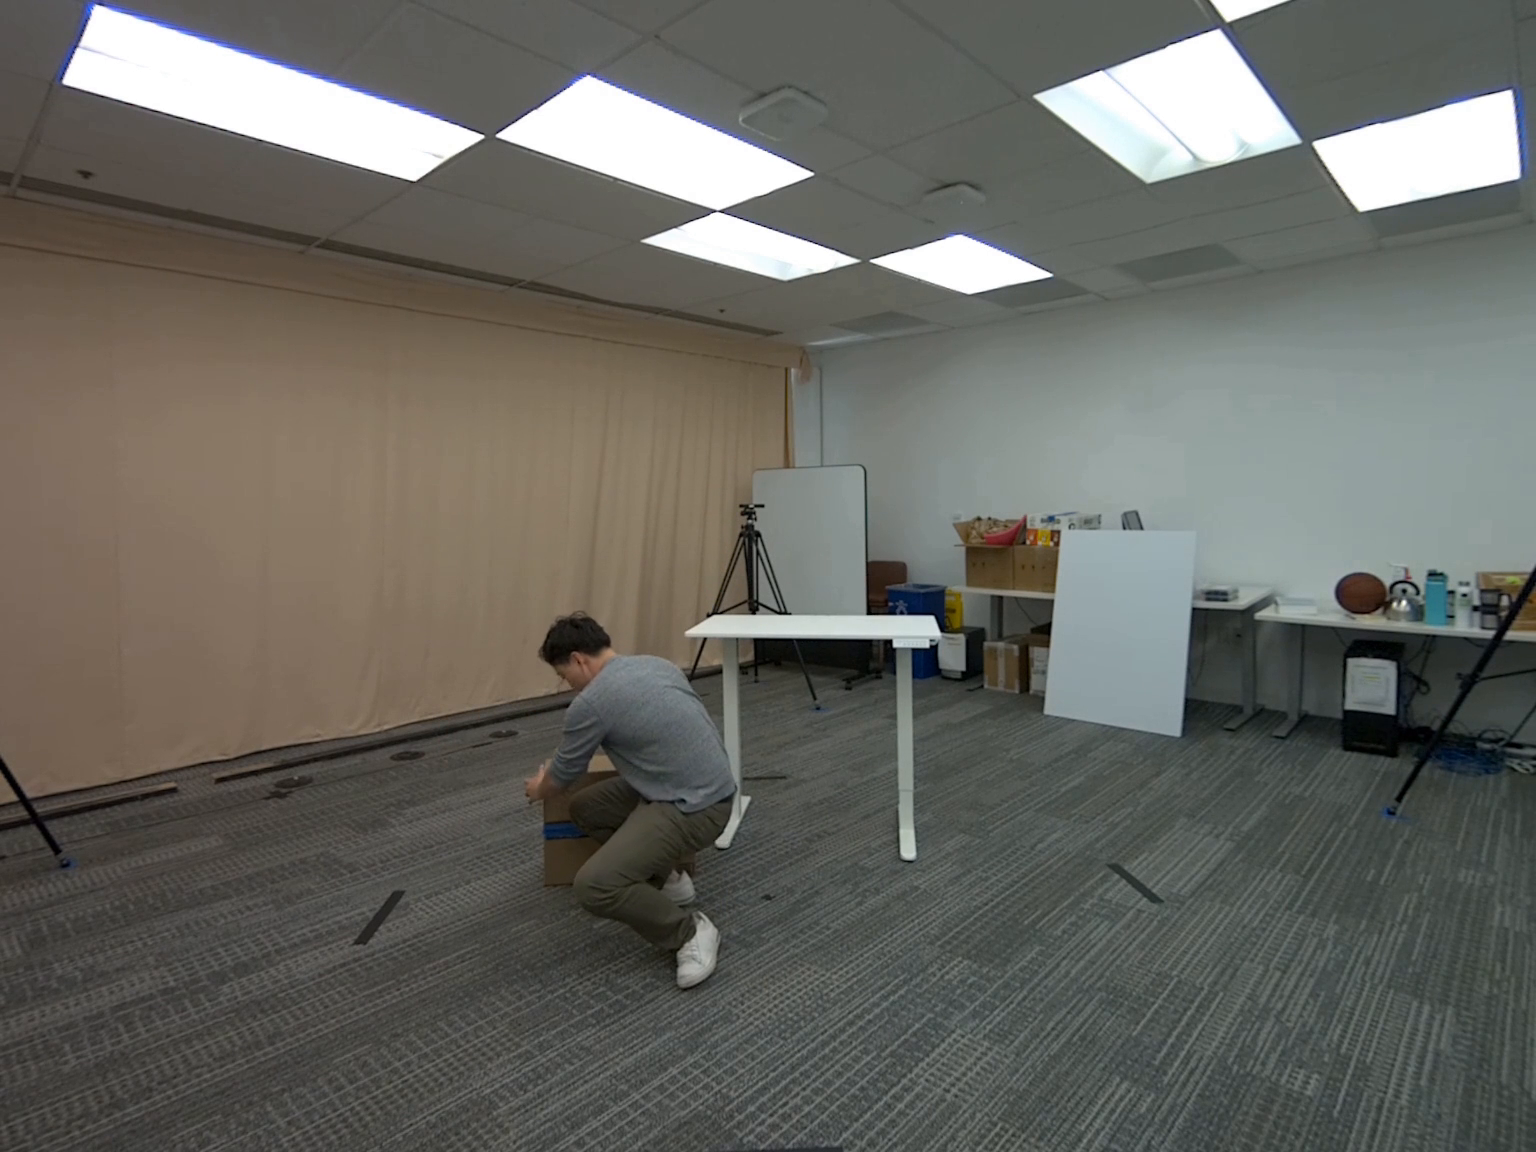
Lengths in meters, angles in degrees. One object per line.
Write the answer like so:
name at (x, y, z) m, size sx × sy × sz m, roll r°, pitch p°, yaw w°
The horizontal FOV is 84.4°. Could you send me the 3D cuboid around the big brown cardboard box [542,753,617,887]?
big brown cardboard box at (-0.569, 0.920, 3.239) m, size 0.585 × 0.417 × 0.235 m, roll -1°, pitch 2°, yaw -6°
